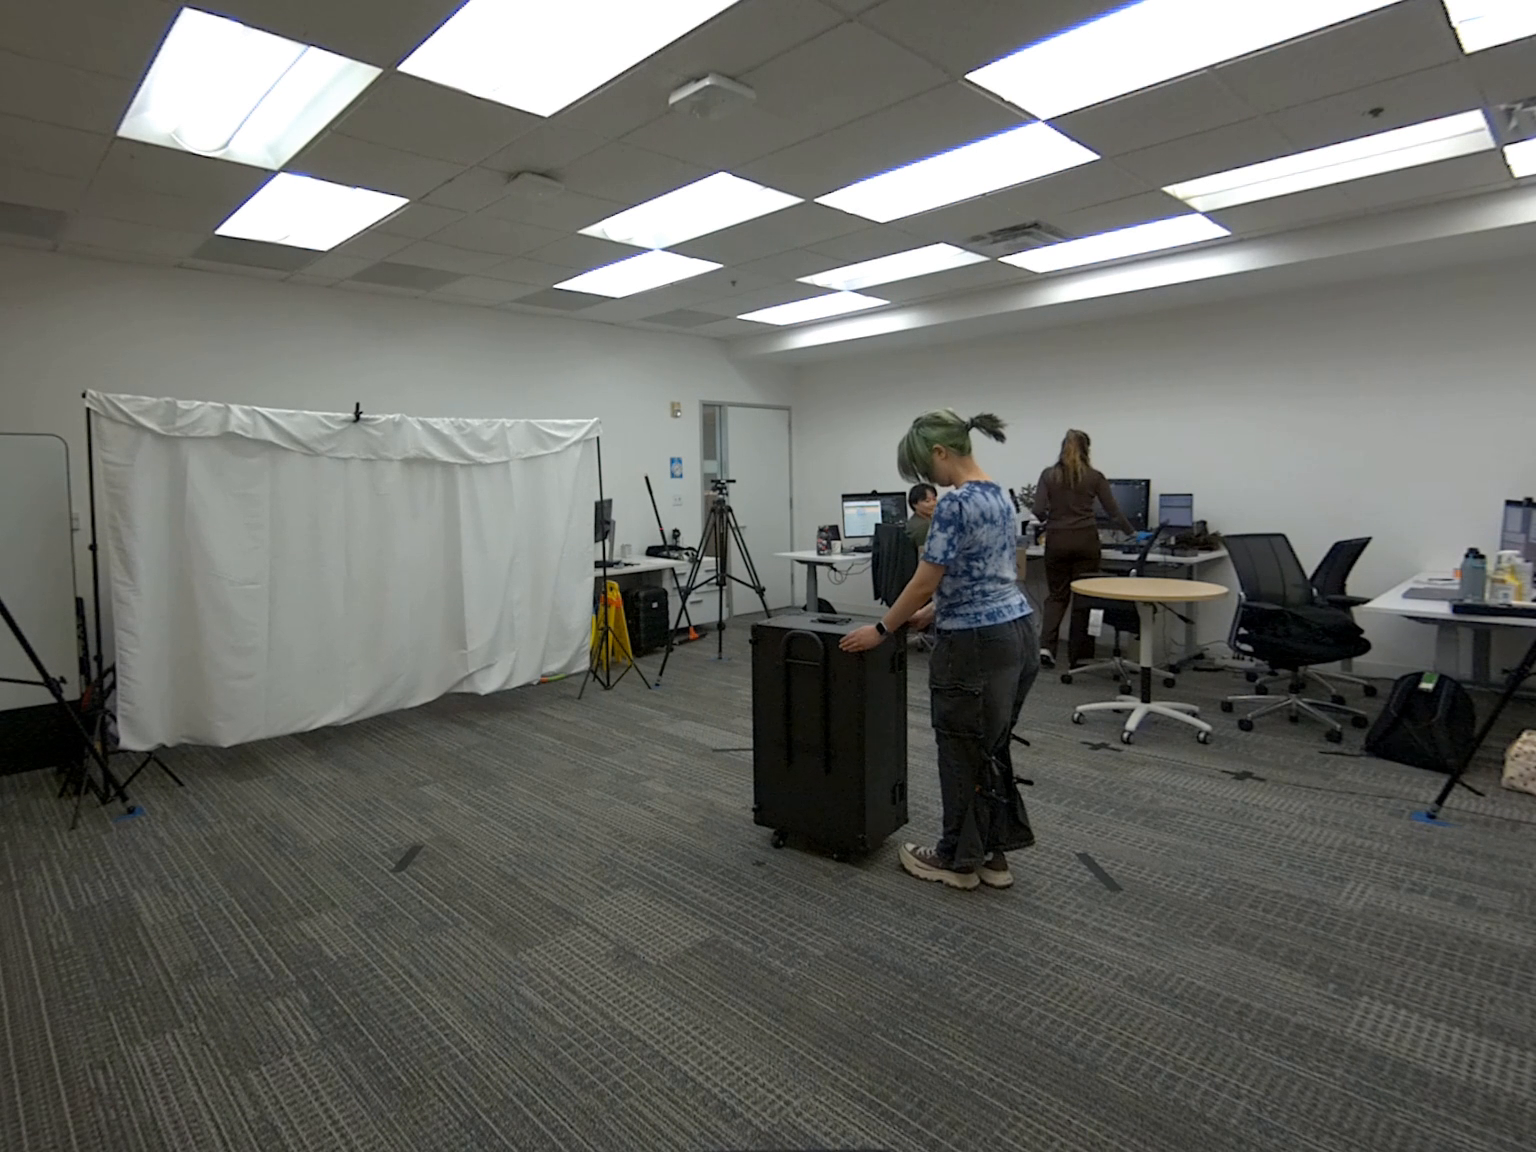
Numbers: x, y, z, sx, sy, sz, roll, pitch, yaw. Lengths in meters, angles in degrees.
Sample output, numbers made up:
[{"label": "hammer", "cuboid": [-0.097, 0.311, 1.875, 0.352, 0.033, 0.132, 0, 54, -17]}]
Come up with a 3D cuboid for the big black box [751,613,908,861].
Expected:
[{"label": "big black box", "cuboid": [0.233, 0.602, 3.256, 0.536, 0.857, 0.387, 3, 6, 35]}]
